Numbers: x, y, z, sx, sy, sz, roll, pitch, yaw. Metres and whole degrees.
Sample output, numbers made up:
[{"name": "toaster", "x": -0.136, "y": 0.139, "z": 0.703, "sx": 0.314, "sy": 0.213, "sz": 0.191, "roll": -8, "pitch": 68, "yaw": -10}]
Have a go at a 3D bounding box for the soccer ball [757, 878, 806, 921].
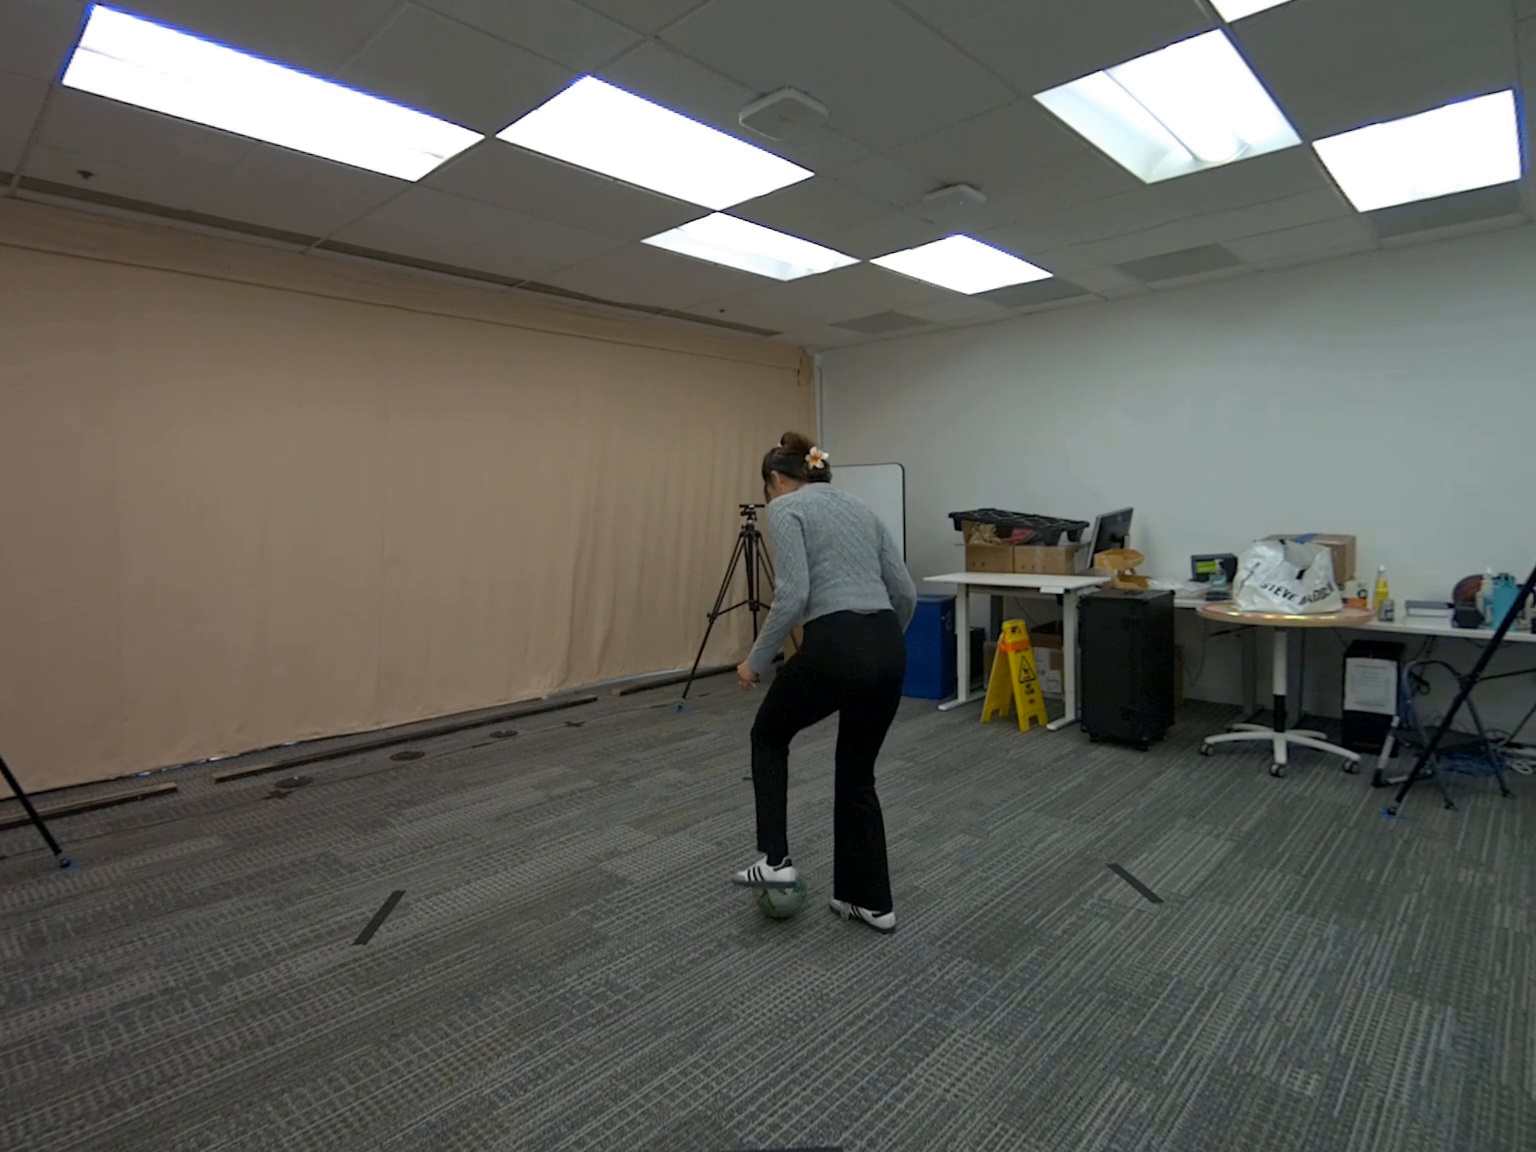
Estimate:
[{"name": "soccer ball", "x": 0.046, "y": 1.059, "z": 2.850, "sx": 0.187, "sy": 0.187, "sz": 0.188, "roll": -1, "pitch": 4, "yaw": -2}]
